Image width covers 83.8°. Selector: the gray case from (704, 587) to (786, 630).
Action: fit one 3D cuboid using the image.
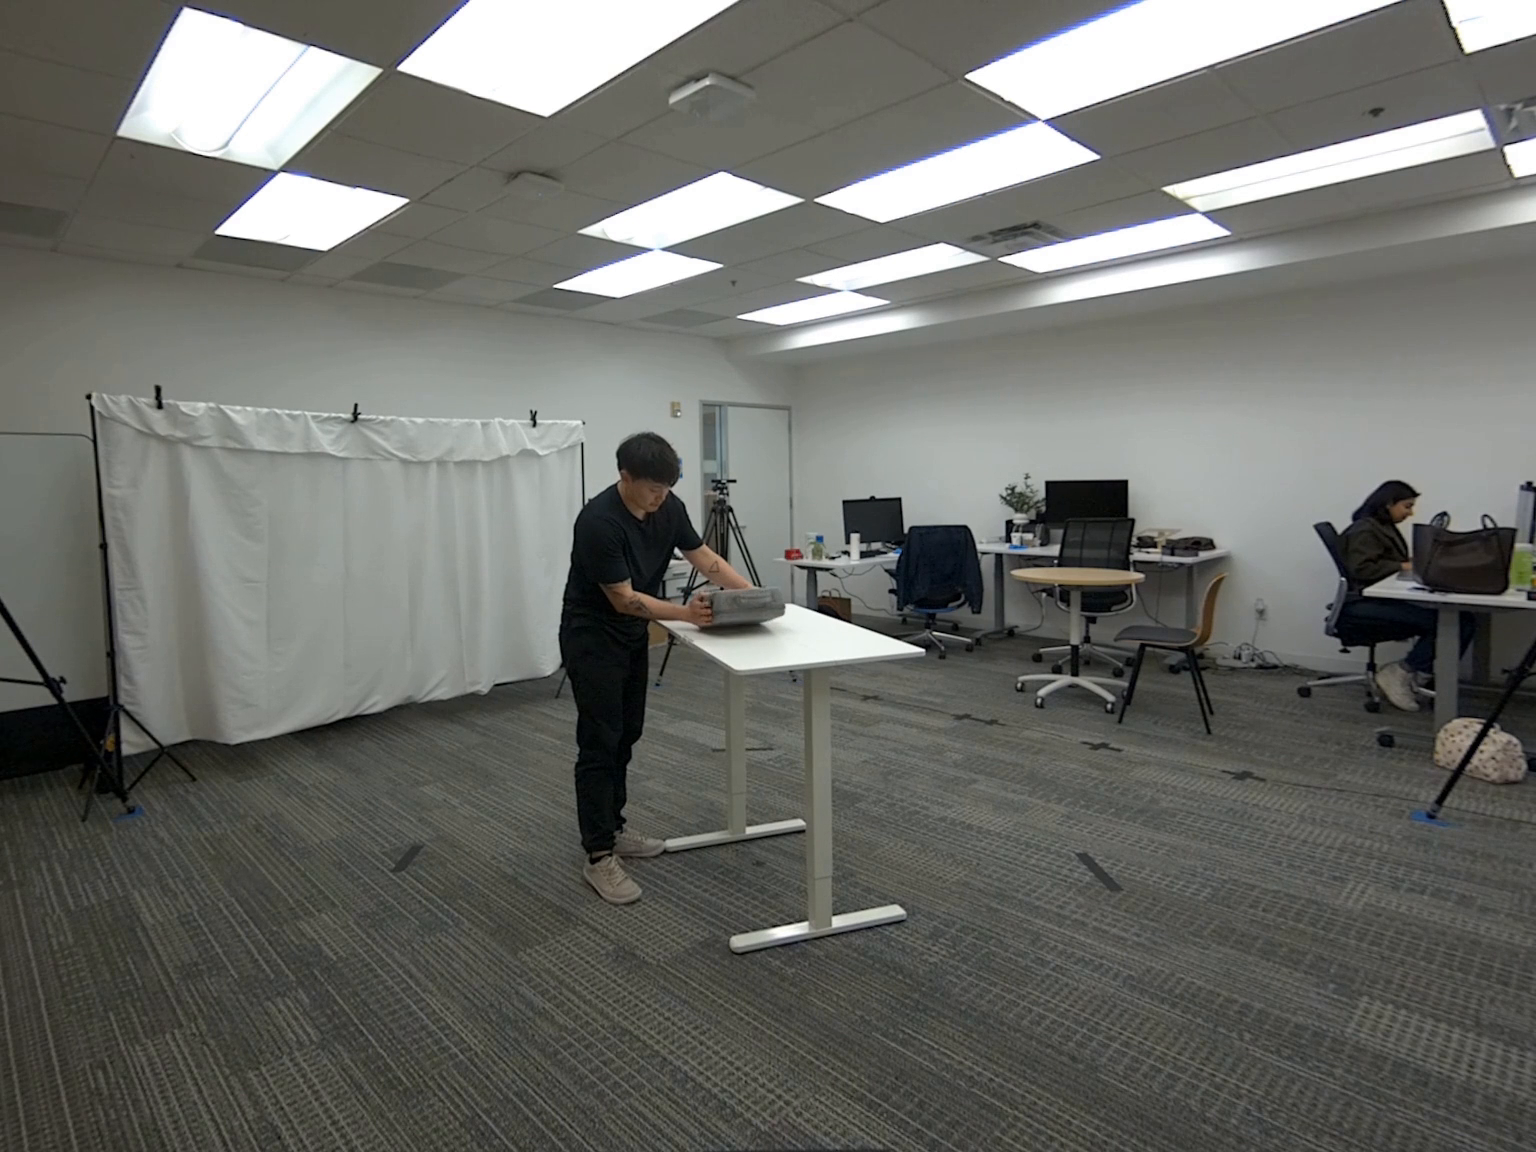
[{"bbox_3d":[-0.098,0.109,2.906,0.253,0.105,0.262,-2,-8,-18],"label":"gray case"}]
